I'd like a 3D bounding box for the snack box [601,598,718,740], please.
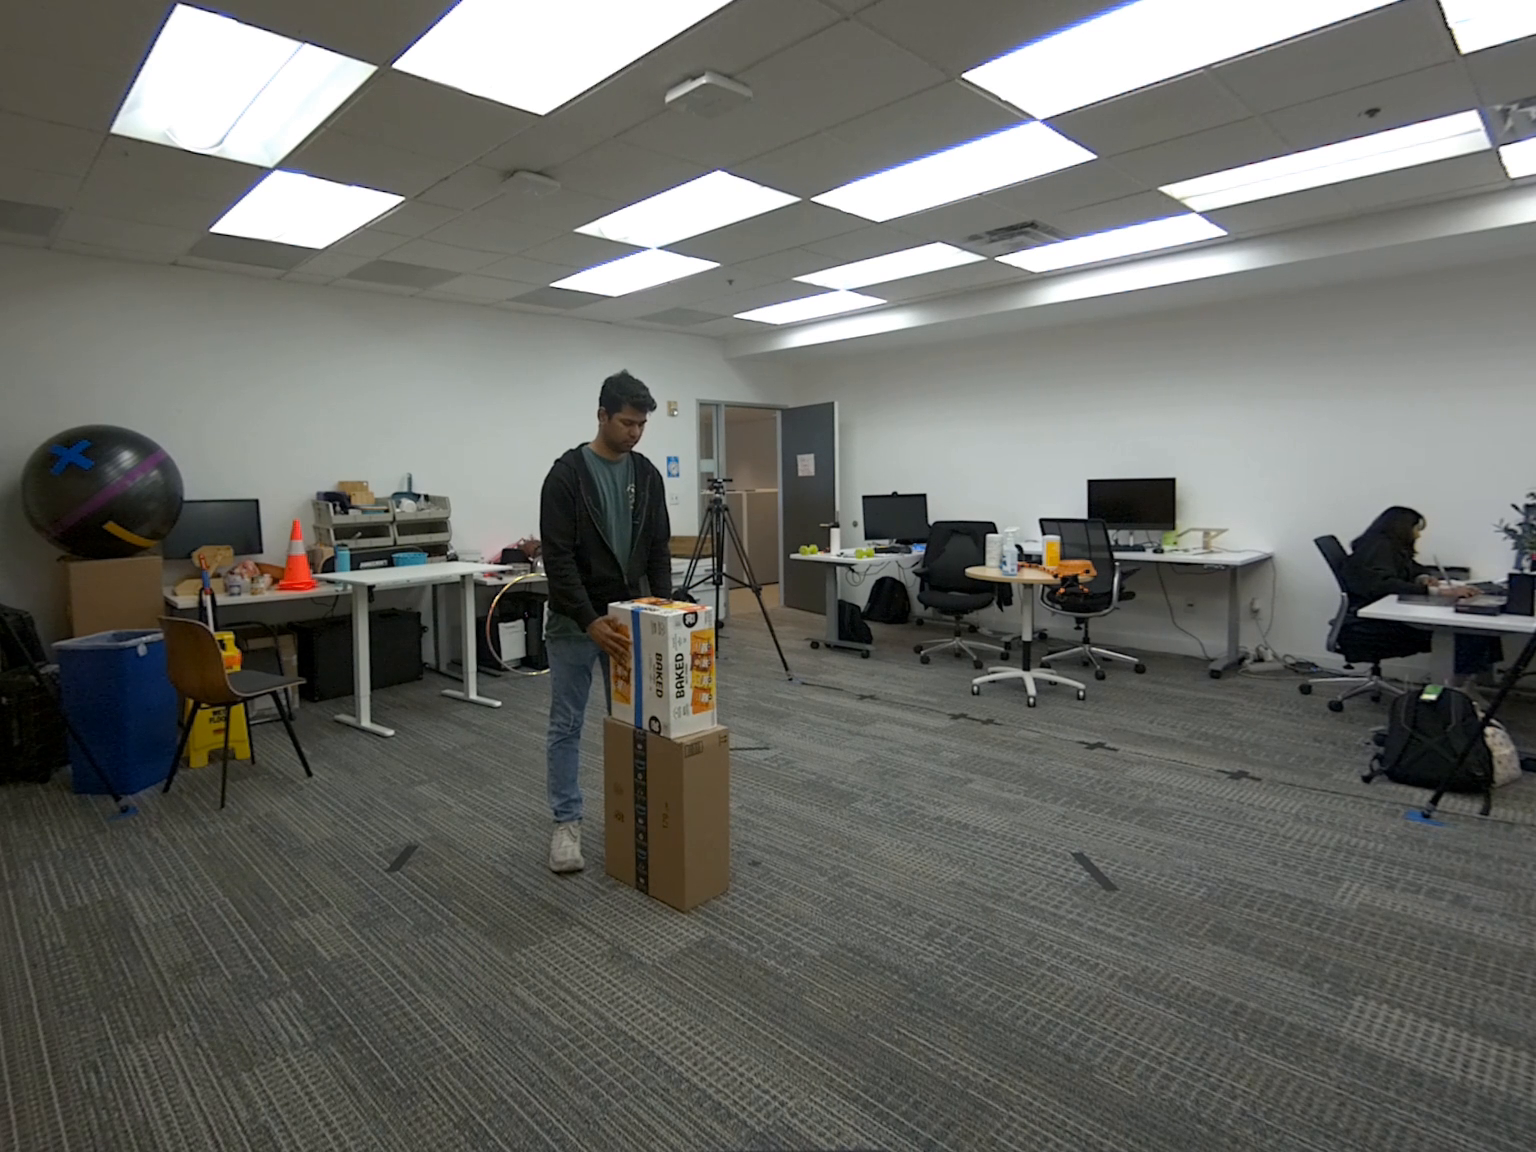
[{"bbox_3d":[-0.361,0.299,2.925,0.200,0.403,0.351,-6,7,-42],"label":"snack box"}]
